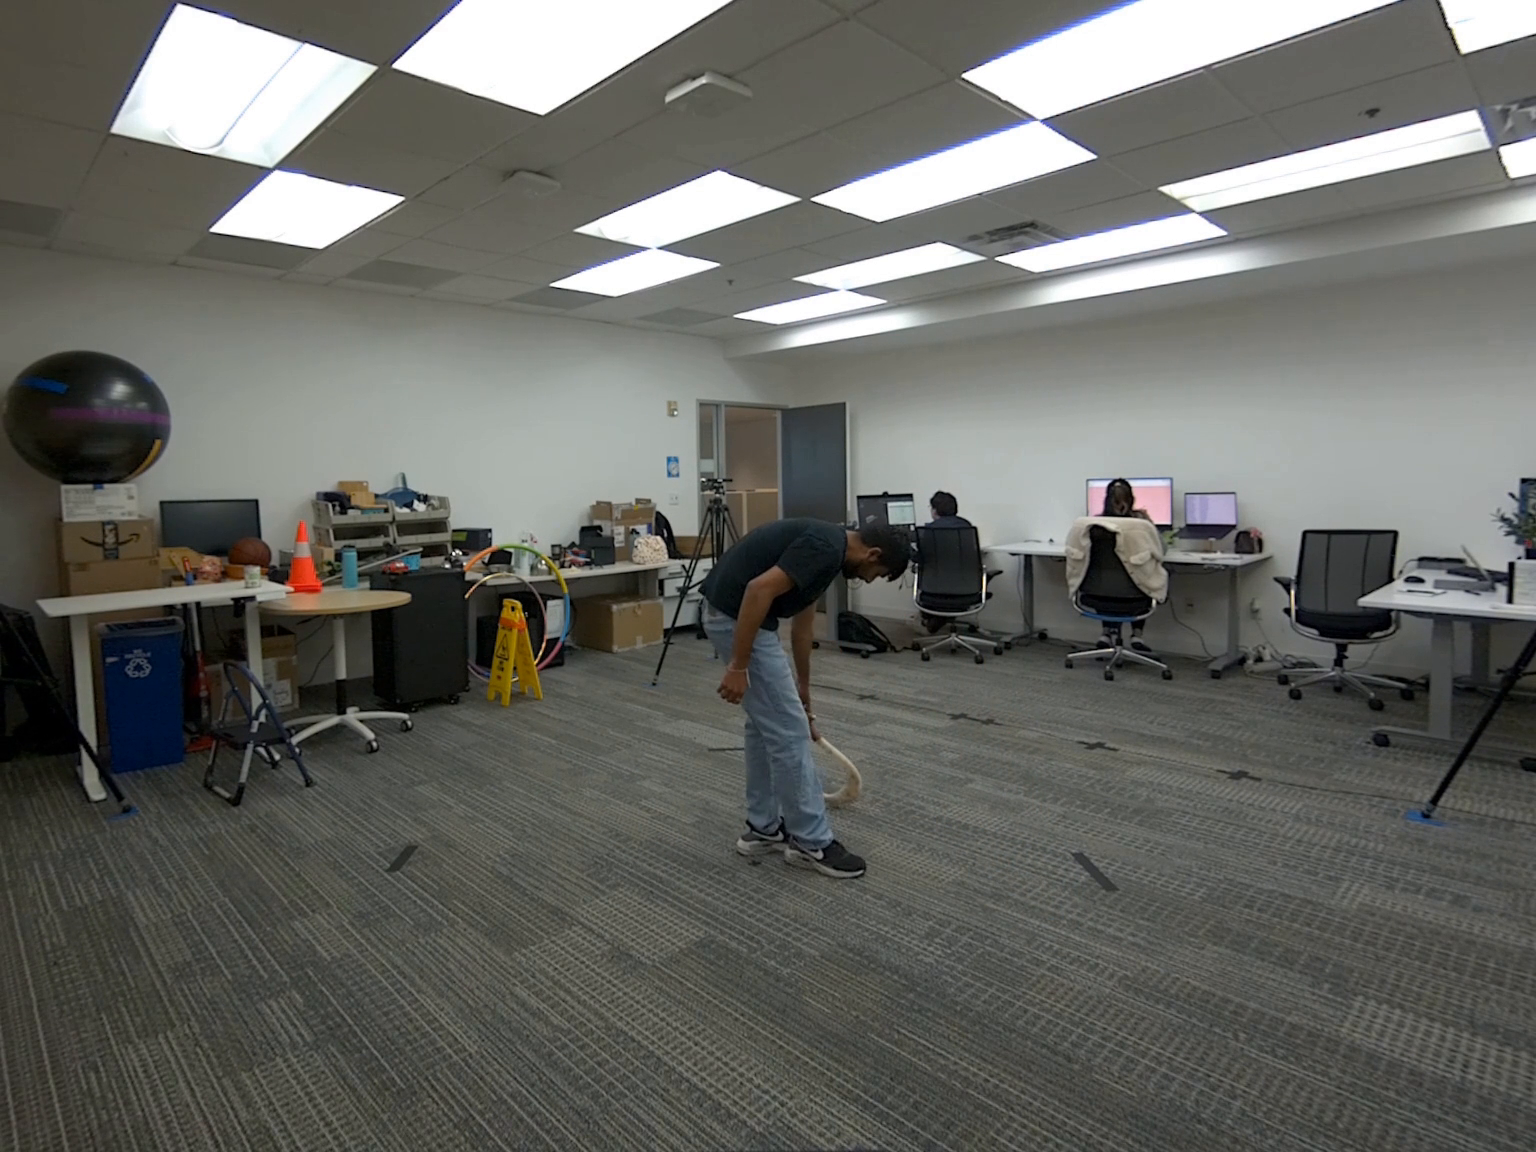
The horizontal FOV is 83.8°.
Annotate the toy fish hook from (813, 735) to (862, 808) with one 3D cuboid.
[{"bbox_3d":[0.206,0.750,3.594,0.225,0.506,0.048,-31,1,11],"label":"toy fish hook"}]
